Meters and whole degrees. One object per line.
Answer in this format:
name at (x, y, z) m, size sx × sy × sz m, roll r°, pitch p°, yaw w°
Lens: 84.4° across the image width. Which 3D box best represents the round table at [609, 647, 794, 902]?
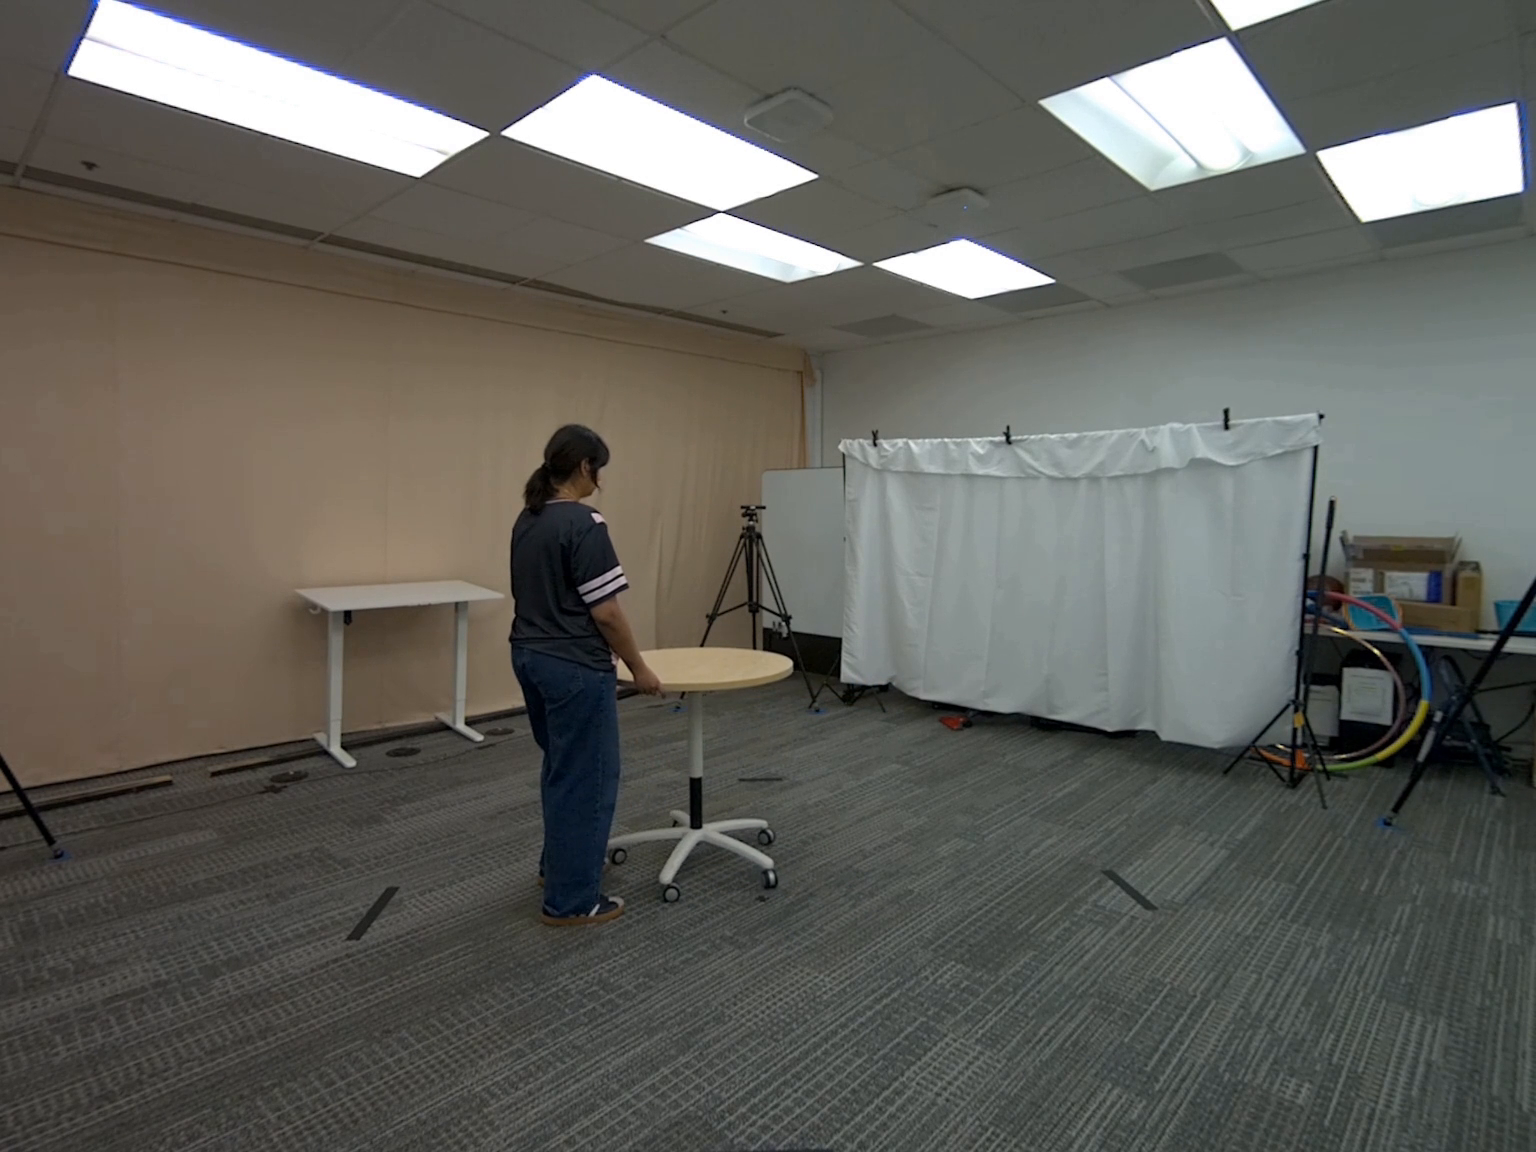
round table at (-0.275, 0.732, 3.264) m, size 0.763 × 0.792 × 0.766 m, roll -1°, pitch 3°, yaw -2°
